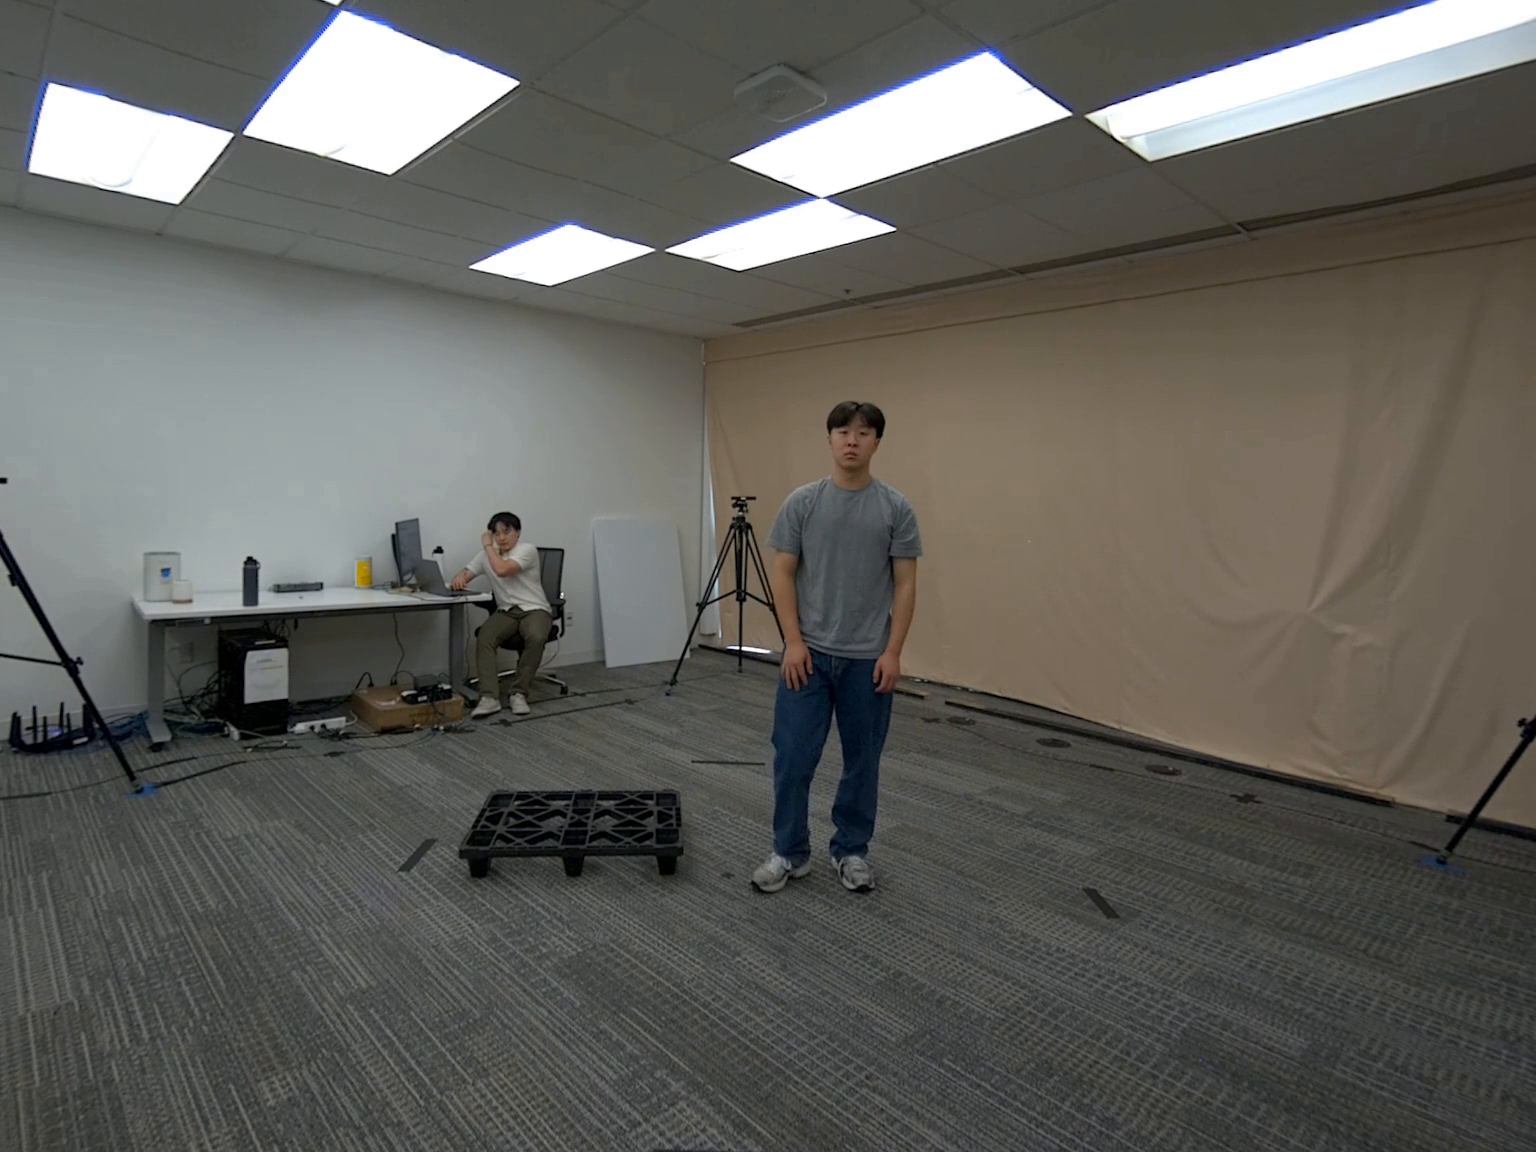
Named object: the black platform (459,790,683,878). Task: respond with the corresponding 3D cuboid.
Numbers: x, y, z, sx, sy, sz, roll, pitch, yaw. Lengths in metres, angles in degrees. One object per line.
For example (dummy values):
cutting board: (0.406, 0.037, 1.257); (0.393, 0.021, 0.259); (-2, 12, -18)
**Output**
black platform: (-0.736, 1.007, 3.292); (0.802, 0.143, 0.610); (1, 6, -6)
